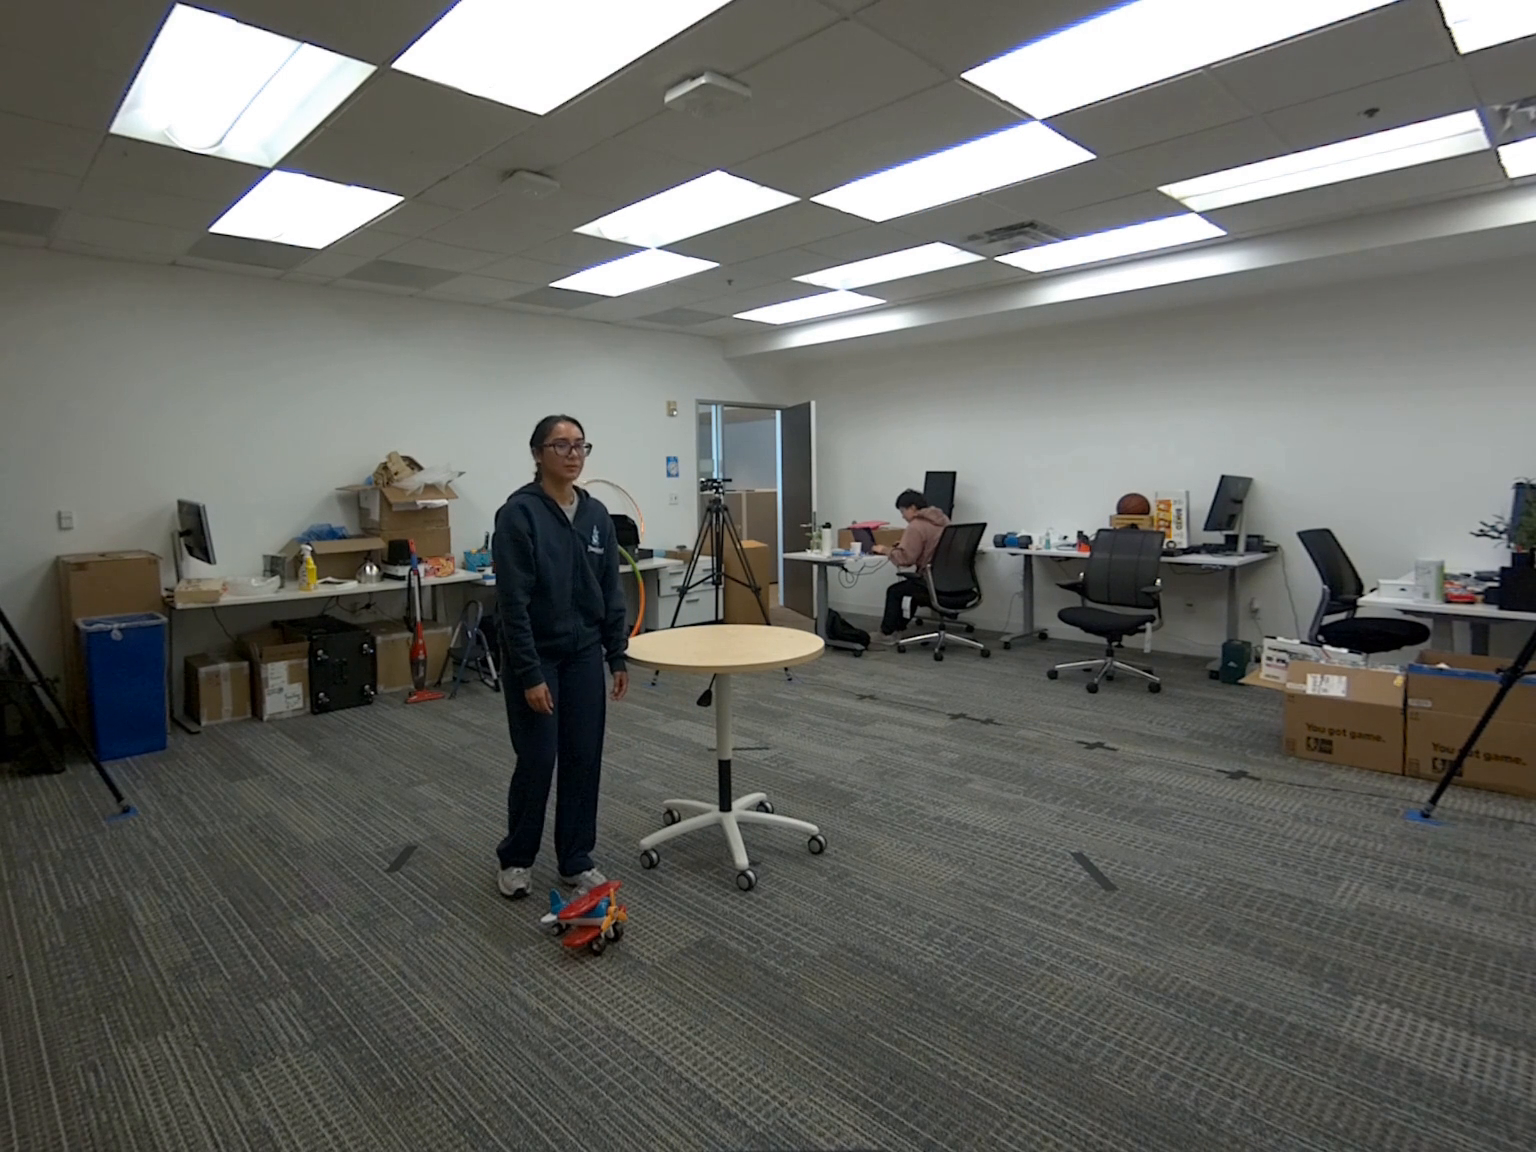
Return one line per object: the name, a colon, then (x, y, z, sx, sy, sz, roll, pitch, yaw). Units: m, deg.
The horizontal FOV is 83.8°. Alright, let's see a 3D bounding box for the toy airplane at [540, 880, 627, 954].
toy airplane: (-0.564, 1.039, 2.592, 0.259, 0.156, 0.252, 1, 5, 1)
